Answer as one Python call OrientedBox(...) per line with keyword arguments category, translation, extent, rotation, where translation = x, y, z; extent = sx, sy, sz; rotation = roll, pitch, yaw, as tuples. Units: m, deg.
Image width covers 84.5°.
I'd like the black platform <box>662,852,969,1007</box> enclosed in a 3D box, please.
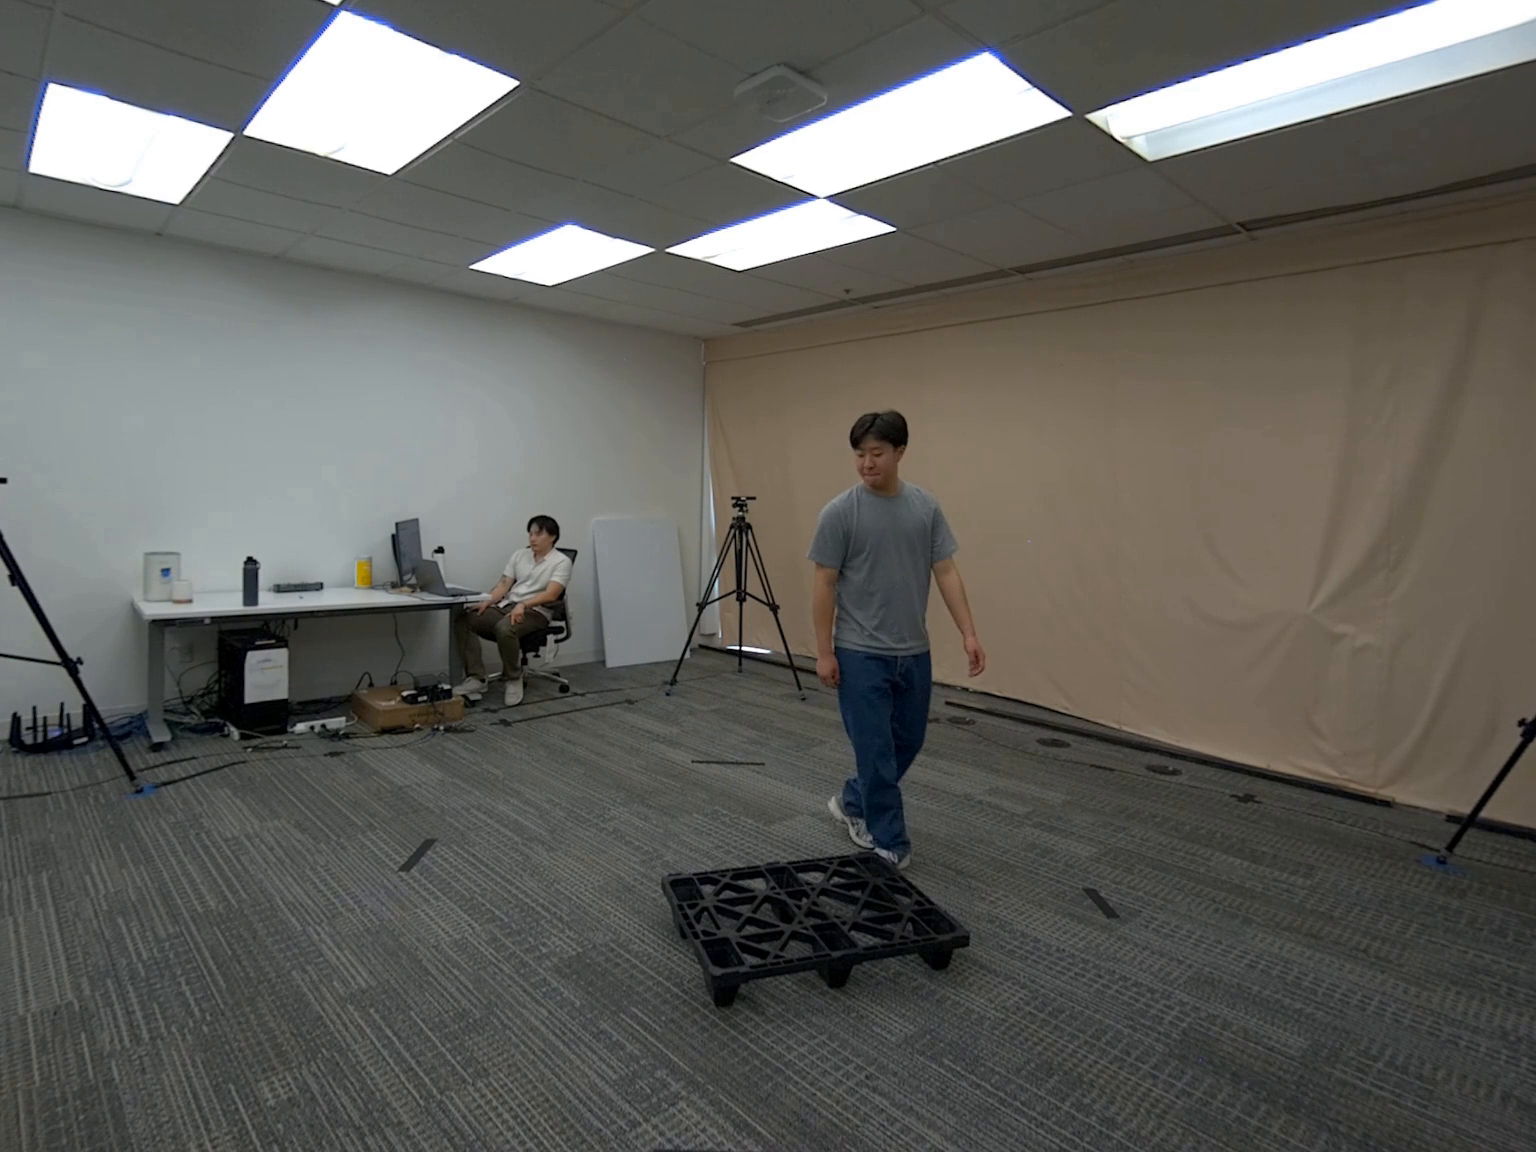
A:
OrientedBox(category="black platform", translation=(0.108, 1.089, 2.628), extent=(0.794, 0.143, 0.616), rotation=(0, 6, -19))
